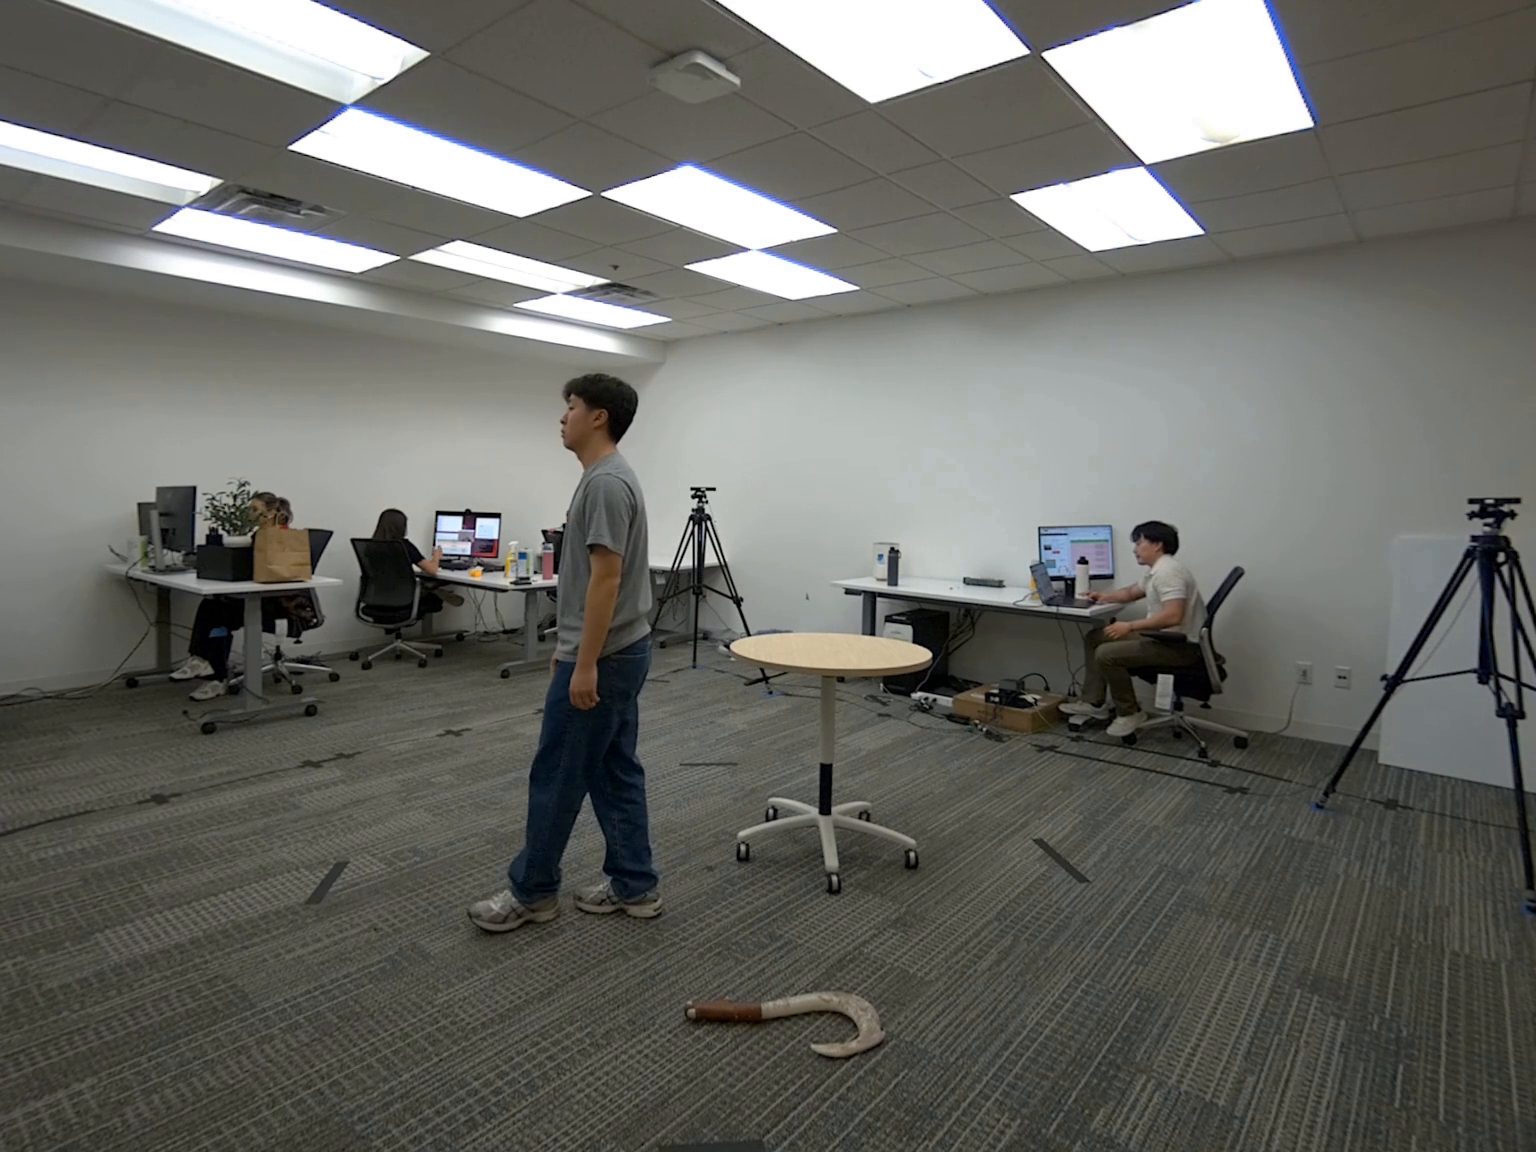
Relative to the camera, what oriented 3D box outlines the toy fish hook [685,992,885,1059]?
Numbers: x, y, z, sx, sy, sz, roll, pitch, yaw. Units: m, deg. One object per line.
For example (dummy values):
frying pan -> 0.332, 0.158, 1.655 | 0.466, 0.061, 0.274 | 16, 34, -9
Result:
toy fish hook -> 0.033, 1.141, 2.182 | 0.505, 0.048, 0.226 | 0, 5, -4
